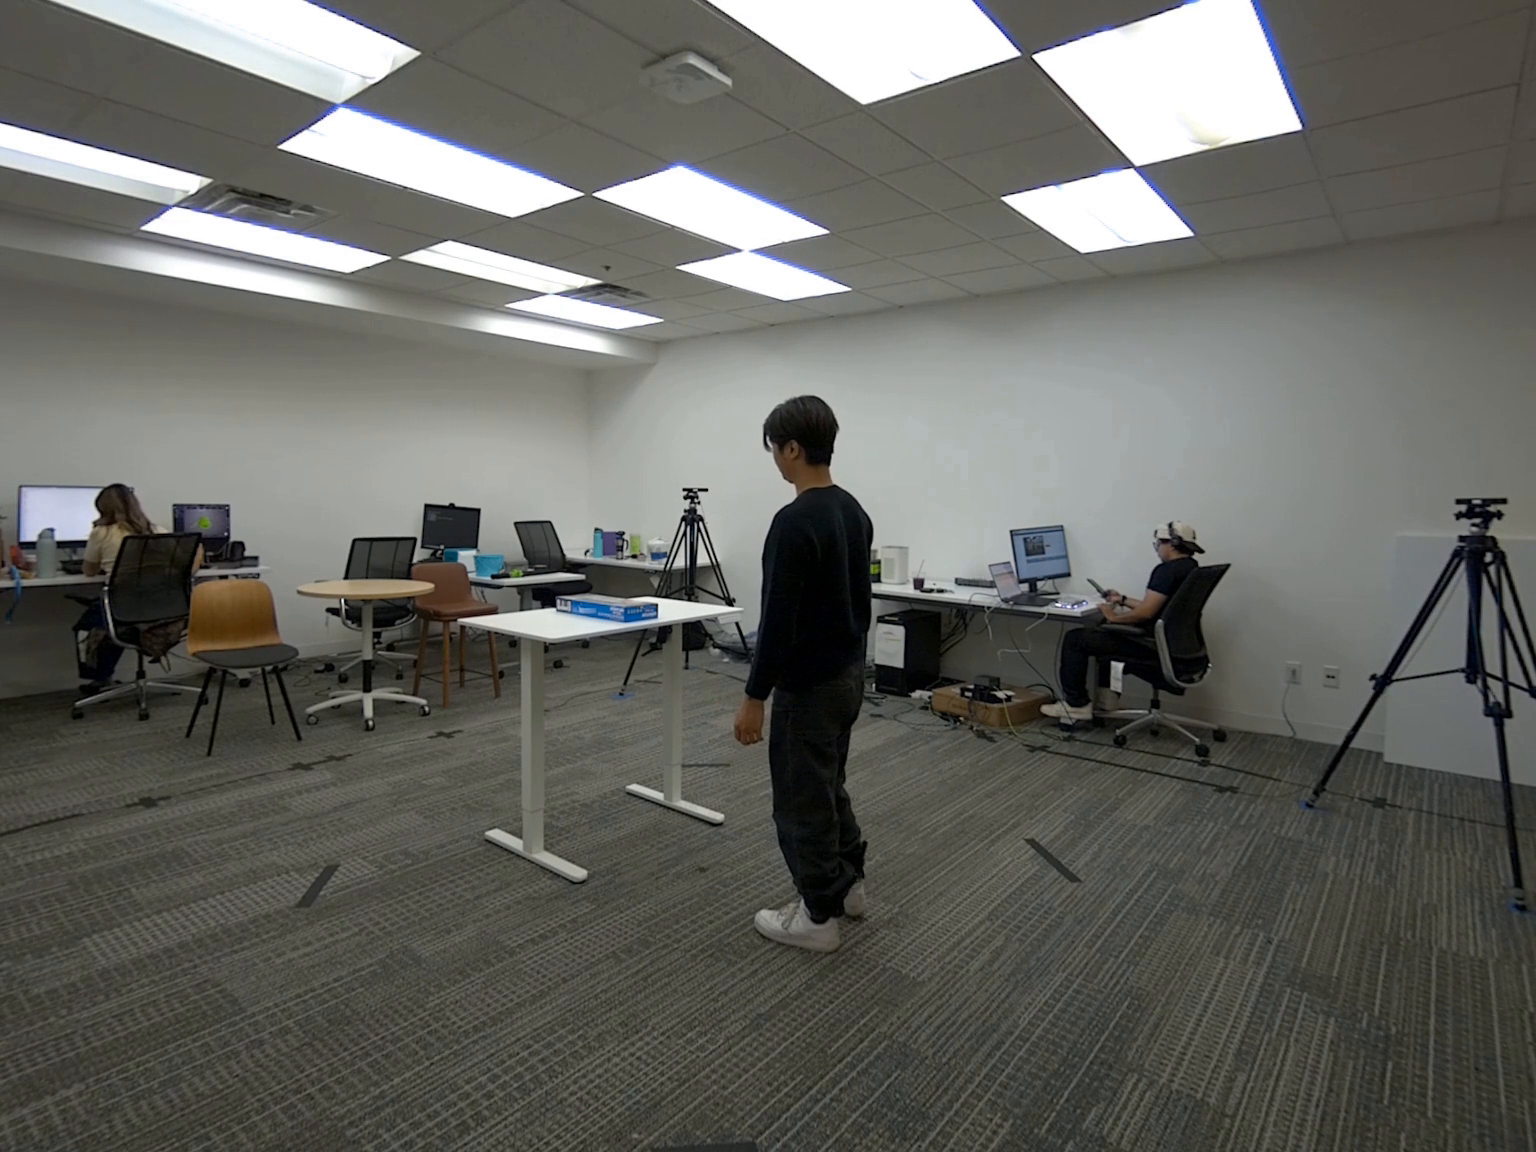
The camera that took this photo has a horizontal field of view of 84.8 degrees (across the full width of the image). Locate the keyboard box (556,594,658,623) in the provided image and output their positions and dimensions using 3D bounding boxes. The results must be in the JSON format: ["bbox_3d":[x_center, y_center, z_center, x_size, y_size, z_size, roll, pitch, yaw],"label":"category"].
[{"bbox_3d":[-0.663,0.122,3.394,0.452,0.059,0.171,6,7,42],"label":"keyboard box"}]
